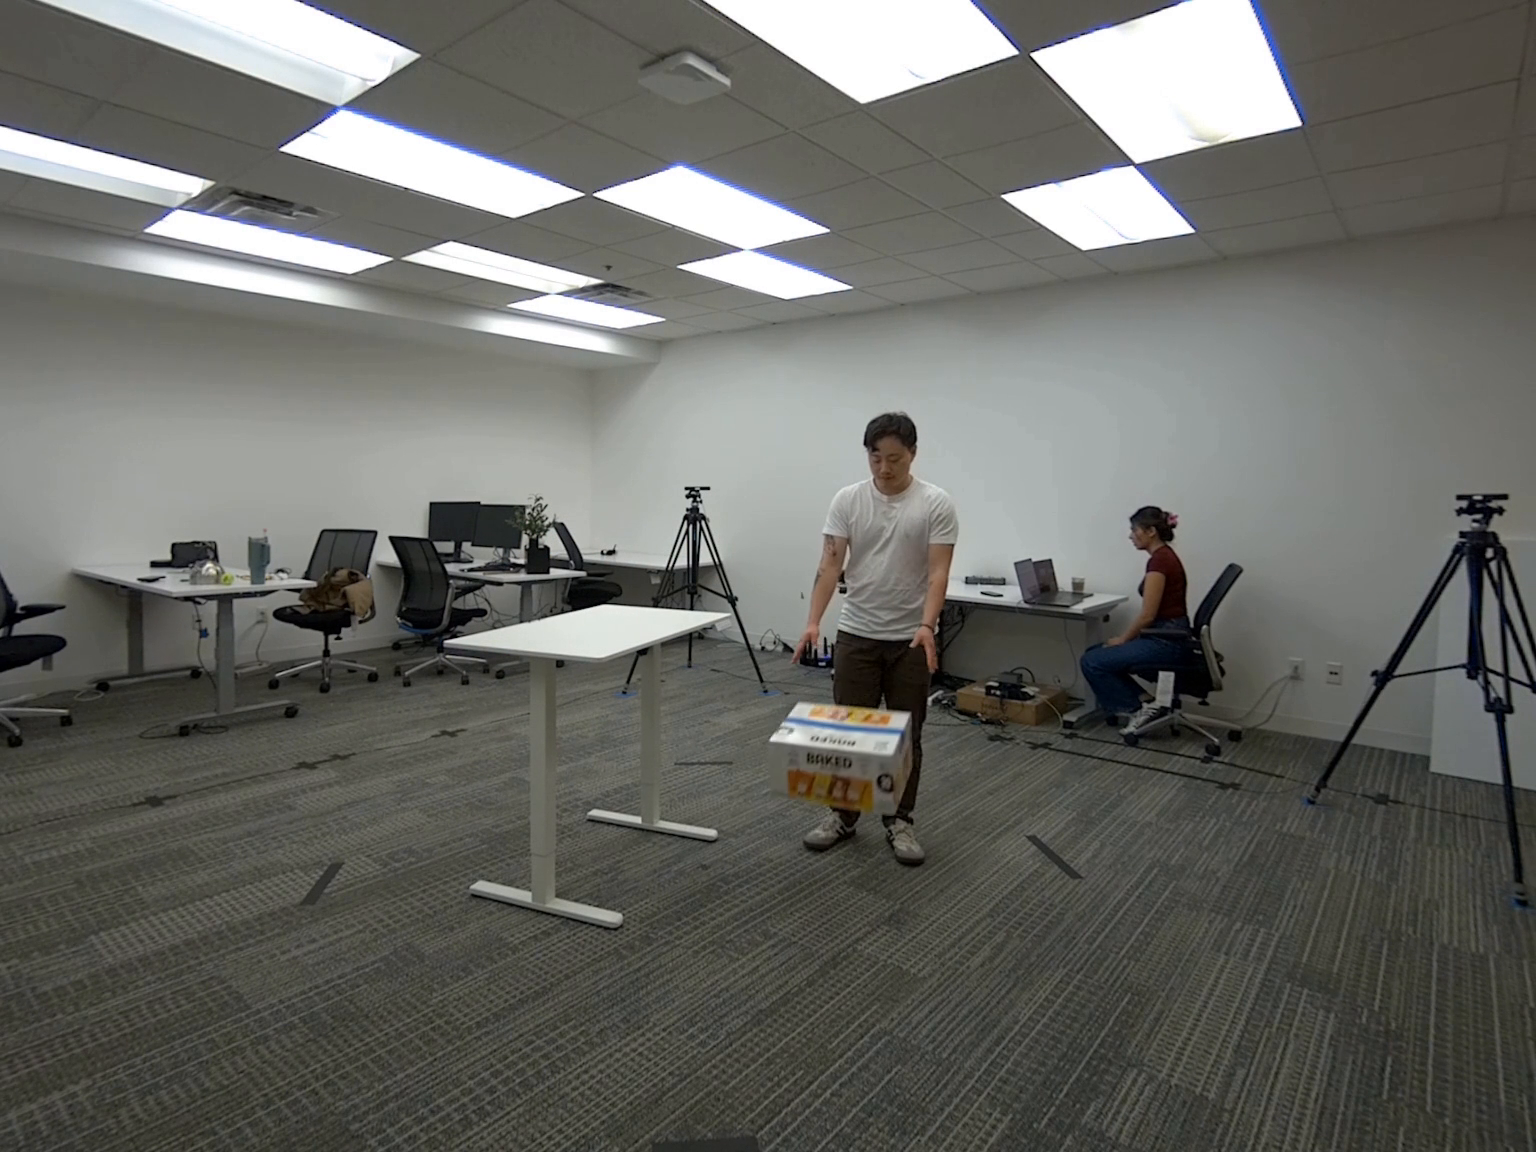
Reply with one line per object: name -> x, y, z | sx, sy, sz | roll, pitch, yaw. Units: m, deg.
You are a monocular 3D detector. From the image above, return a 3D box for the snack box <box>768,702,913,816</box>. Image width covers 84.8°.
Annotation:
snack box -> 0.245, 0.621, 2.846 | 0.414, 0.203, 0.337 | 3, 13, 20
